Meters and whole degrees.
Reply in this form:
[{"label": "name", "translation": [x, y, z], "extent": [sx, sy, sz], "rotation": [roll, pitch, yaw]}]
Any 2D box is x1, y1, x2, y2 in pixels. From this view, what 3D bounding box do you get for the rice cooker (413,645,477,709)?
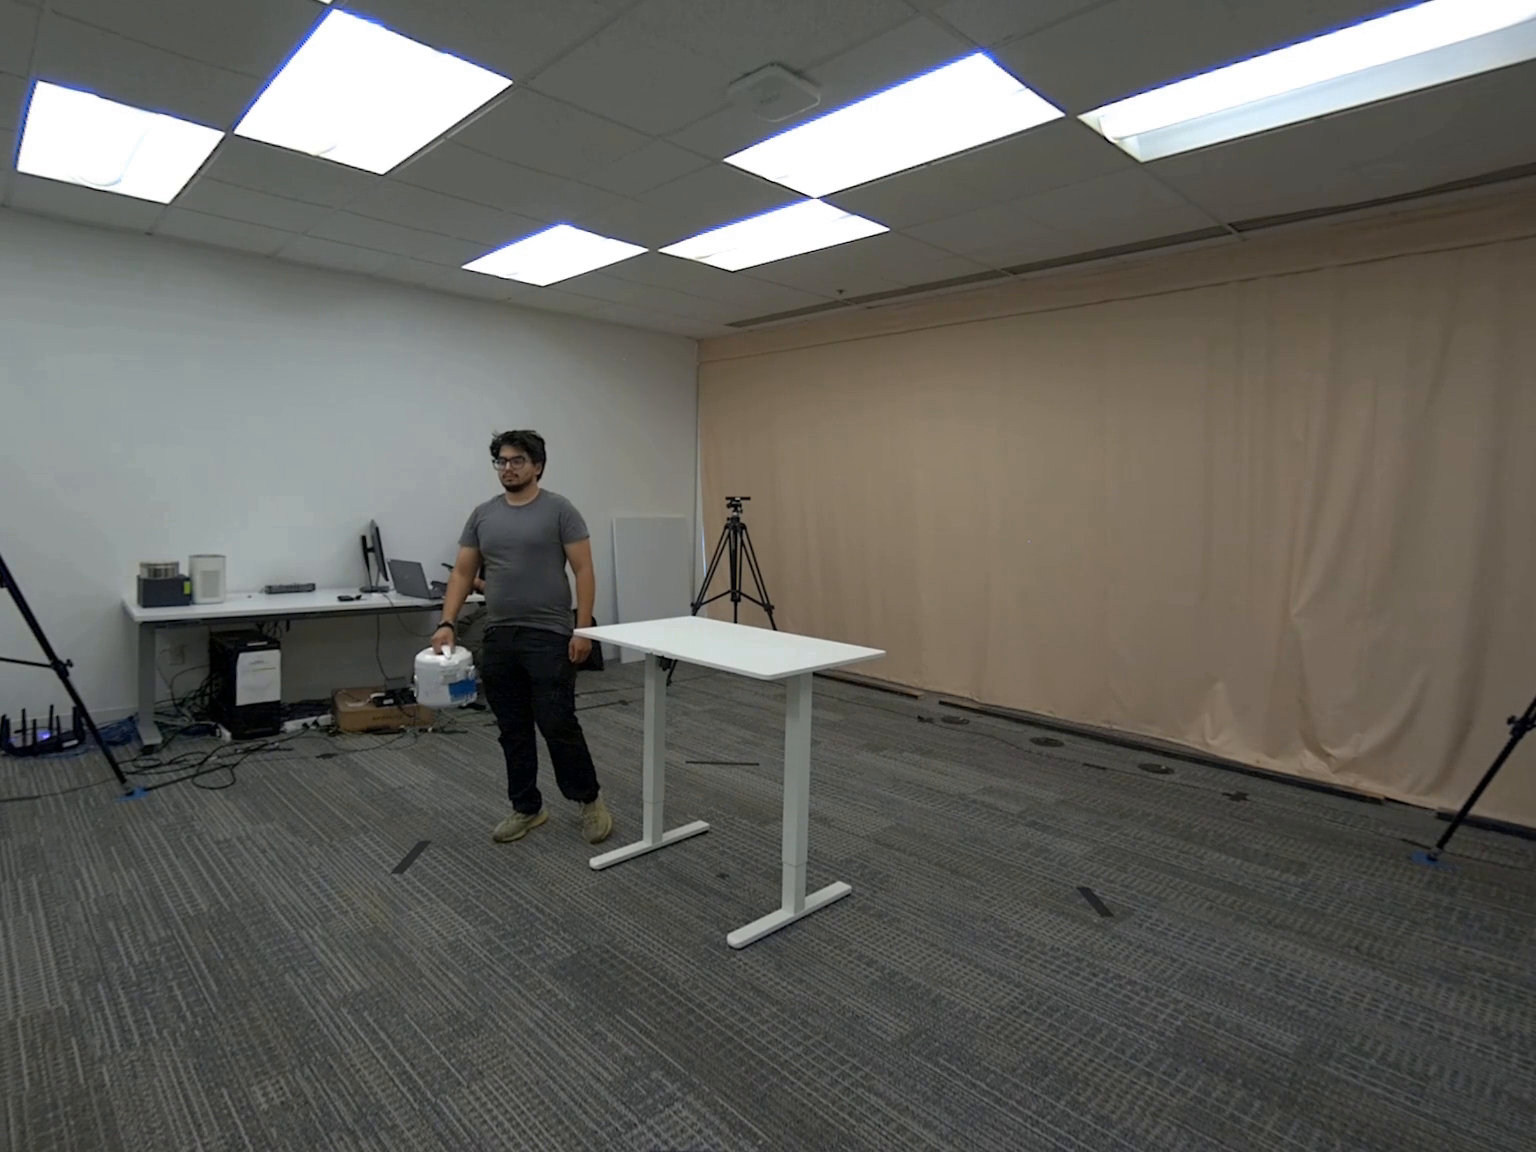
[{"label": "rice cooker", "translation": [-1.254, 0.373, 3.253], "extent": [0.213, 0.231, 0.226], "rotation": [-2, 9, -31]}]
